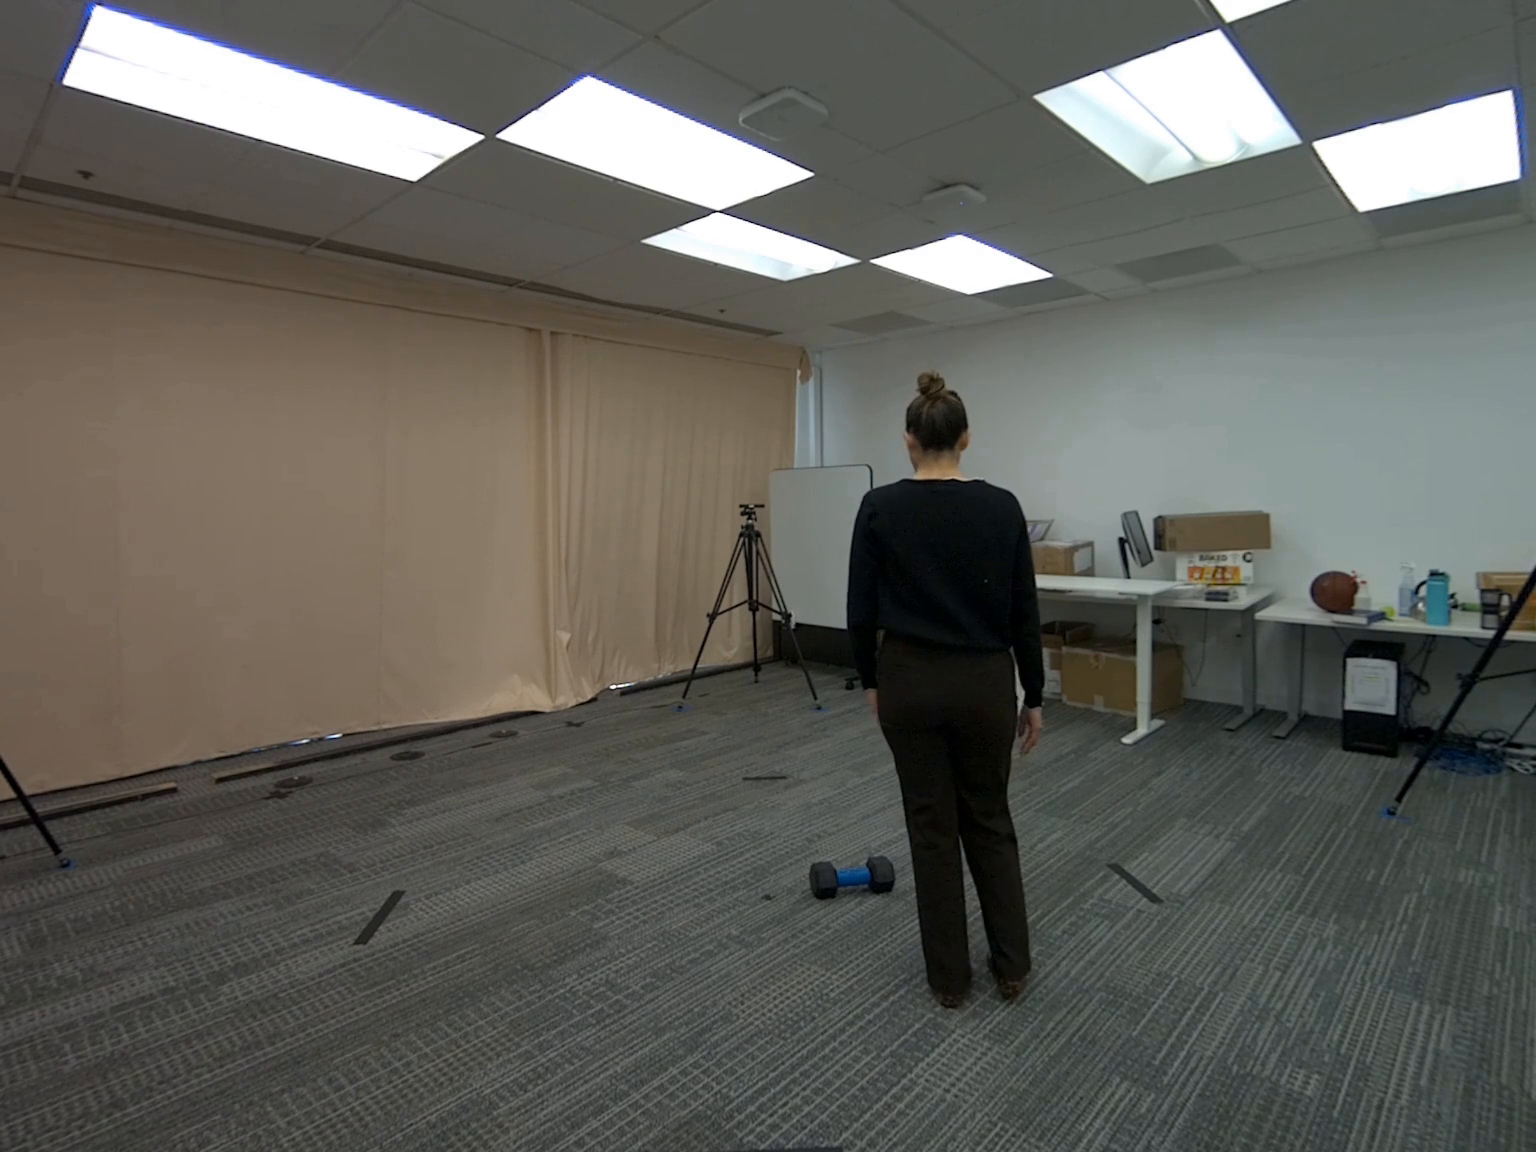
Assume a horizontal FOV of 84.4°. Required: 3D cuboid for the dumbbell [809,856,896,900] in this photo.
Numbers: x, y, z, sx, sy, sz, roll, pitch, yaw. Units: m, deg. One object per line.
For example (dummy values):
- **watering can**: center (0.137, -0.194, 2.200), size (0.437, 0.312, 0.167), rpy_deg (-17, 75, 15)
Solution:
- **dumbbell**: center (0.306, 1.080, 3.010), size (0.290, 0.125, 0.108), rpy_deg (-2, -27, -10)
